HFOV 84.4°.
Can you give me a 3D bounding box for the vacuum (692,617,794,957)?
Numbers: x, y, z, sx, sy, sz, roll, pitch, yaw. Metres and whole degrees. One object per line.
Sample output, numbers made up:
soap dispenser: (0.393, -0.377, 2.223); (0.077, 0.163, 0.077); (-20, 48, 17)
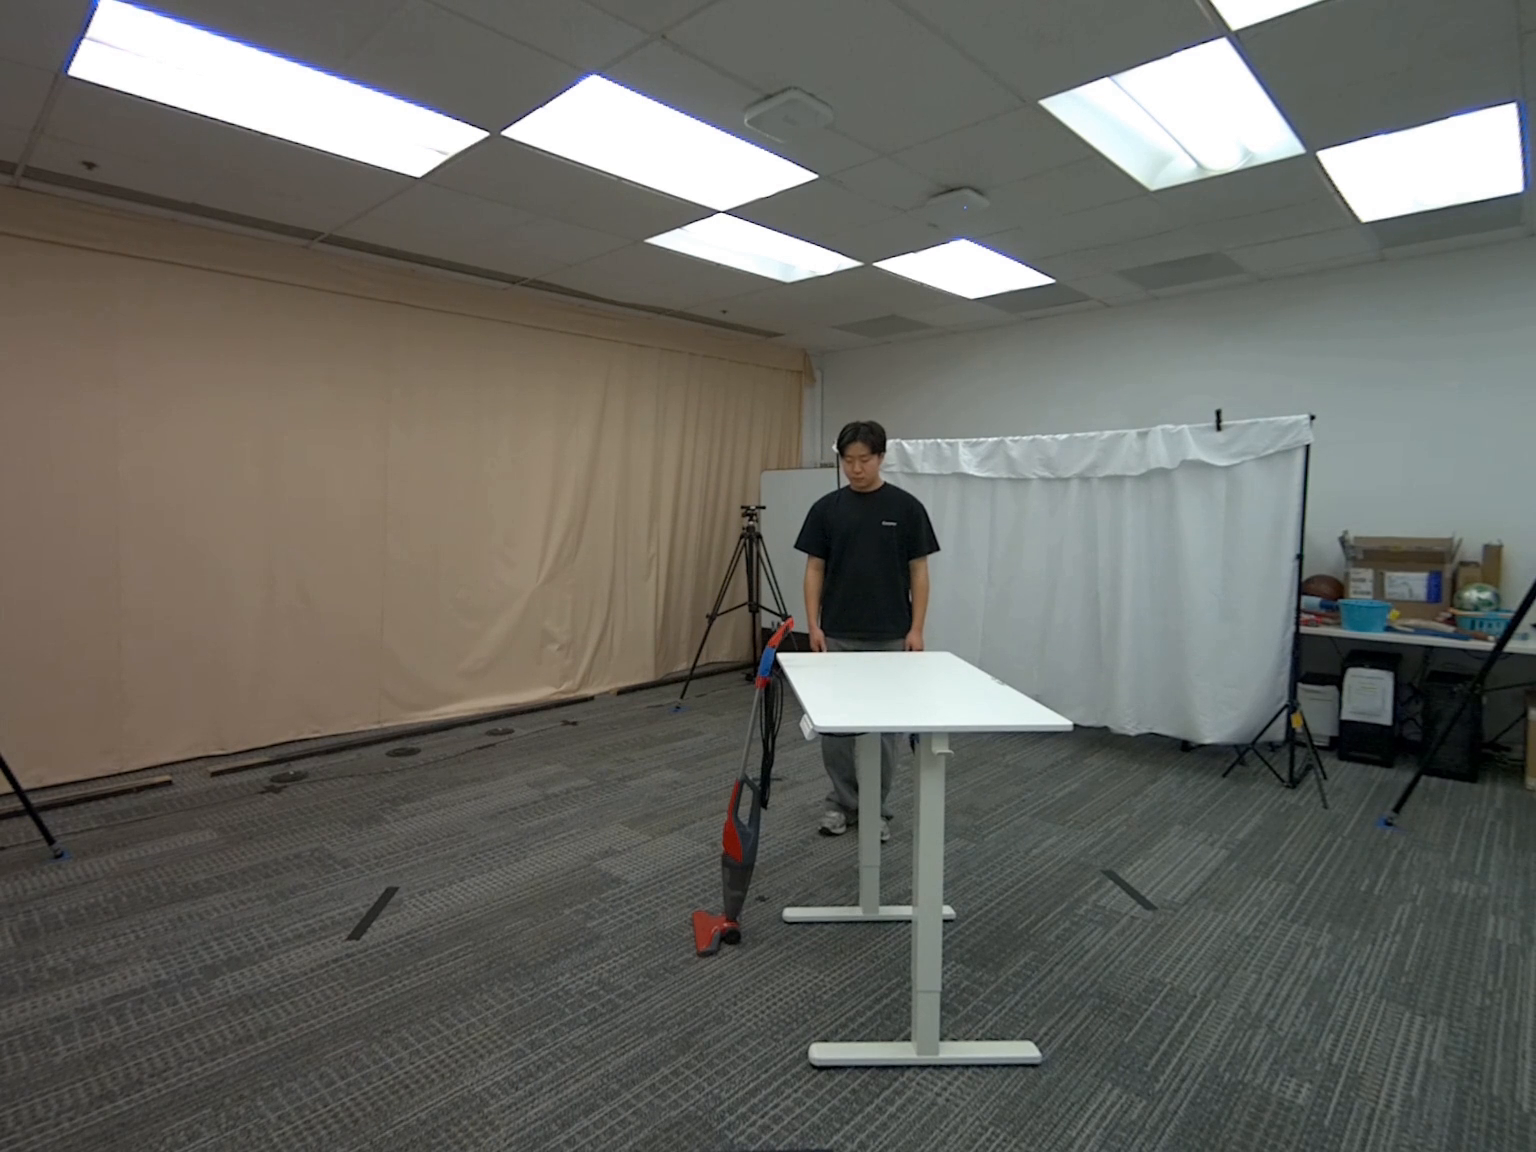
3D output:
vacuum: (-0.042, 0.658, 2.713); (0.142, 1.049, 0.255); (13, 1, -11)
